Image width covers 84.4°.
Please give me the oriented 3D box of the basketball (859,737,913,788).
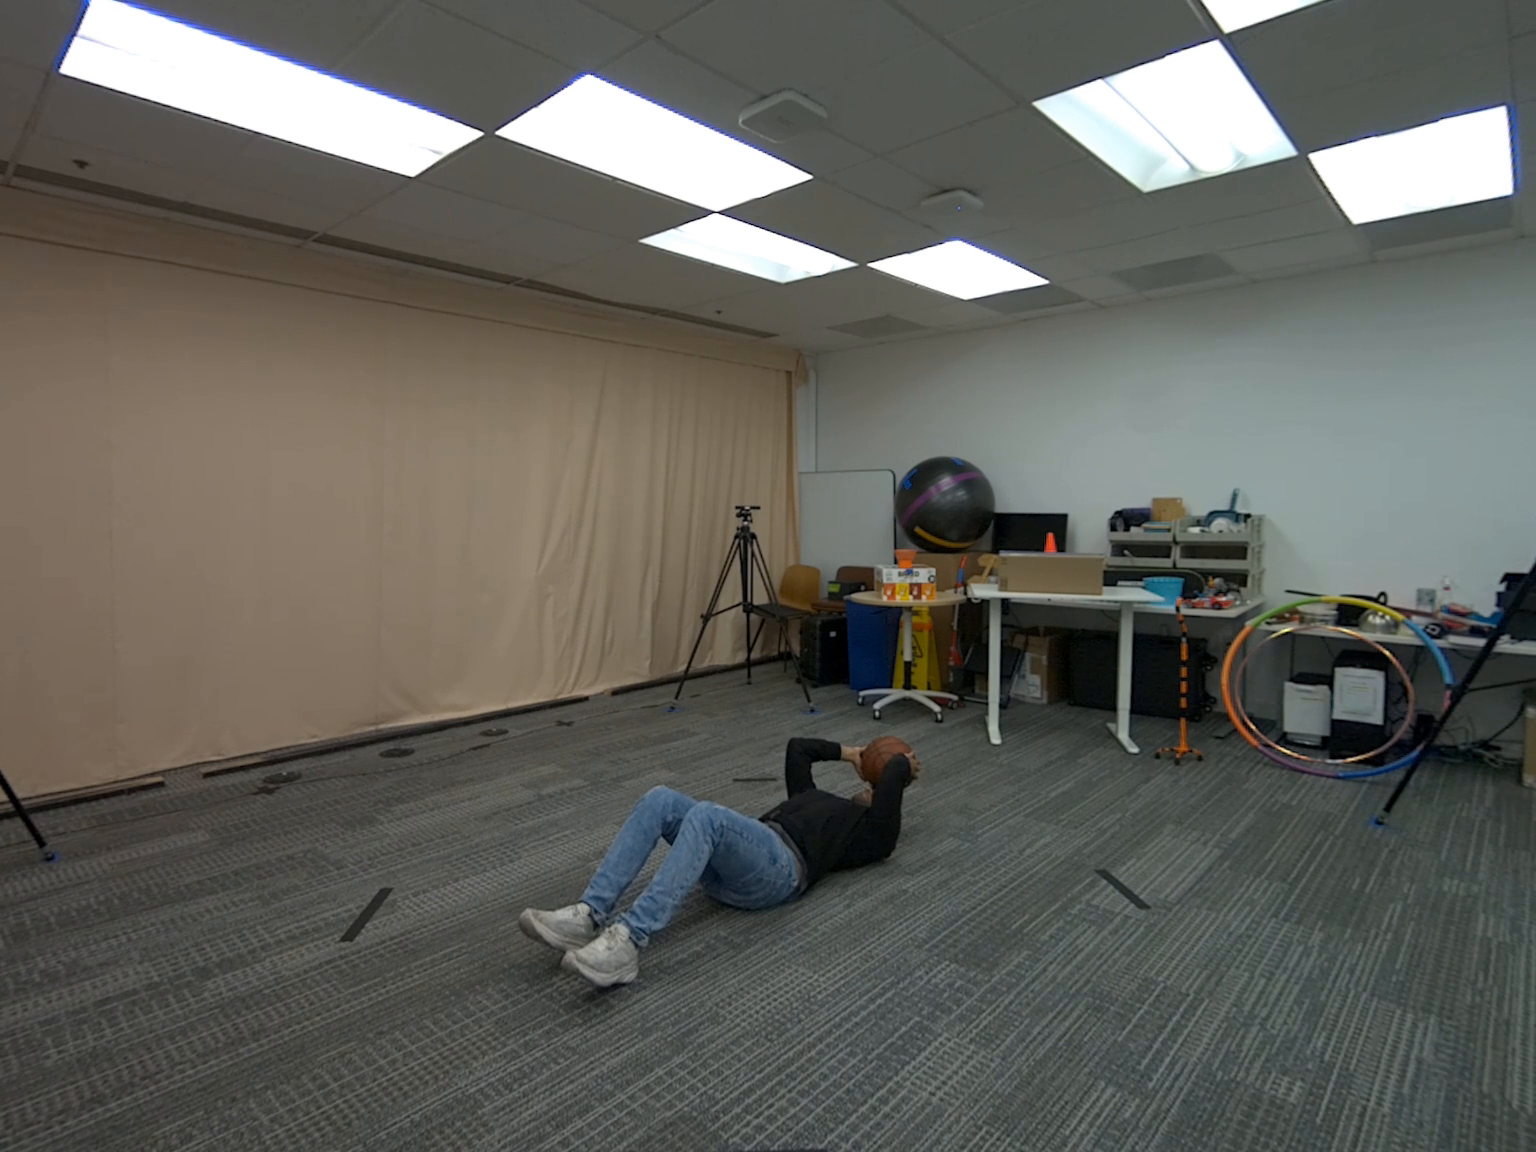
[{"bbox_3d":[0.526,0.798,3.660,0.236,0.235,0.237,0,4,-2],"label":"basketball"}]
